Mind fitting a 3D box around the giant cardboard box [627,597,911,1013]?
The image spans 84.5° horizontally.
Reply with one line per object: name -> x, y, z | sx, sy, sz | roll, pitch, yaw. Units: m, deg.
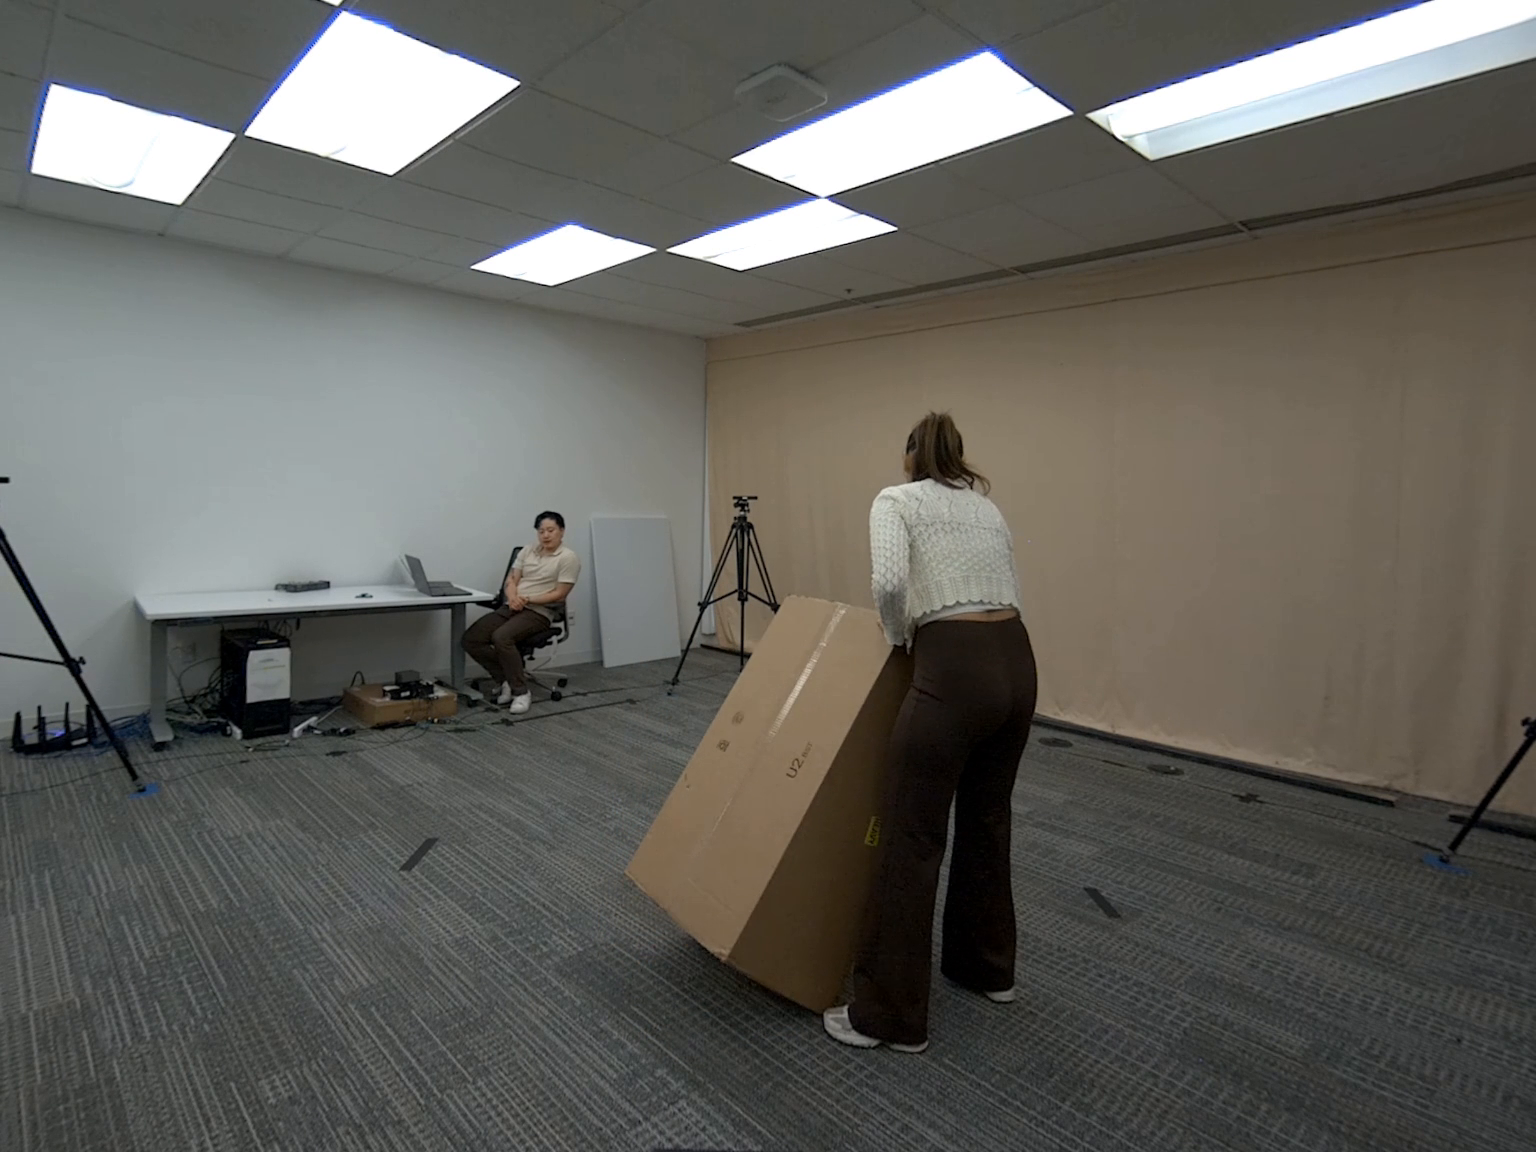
giant cardboard box -> 0.109, 0.625, 2.549 | 0.414, 1.029, 0.591 | 41, -18, -30
